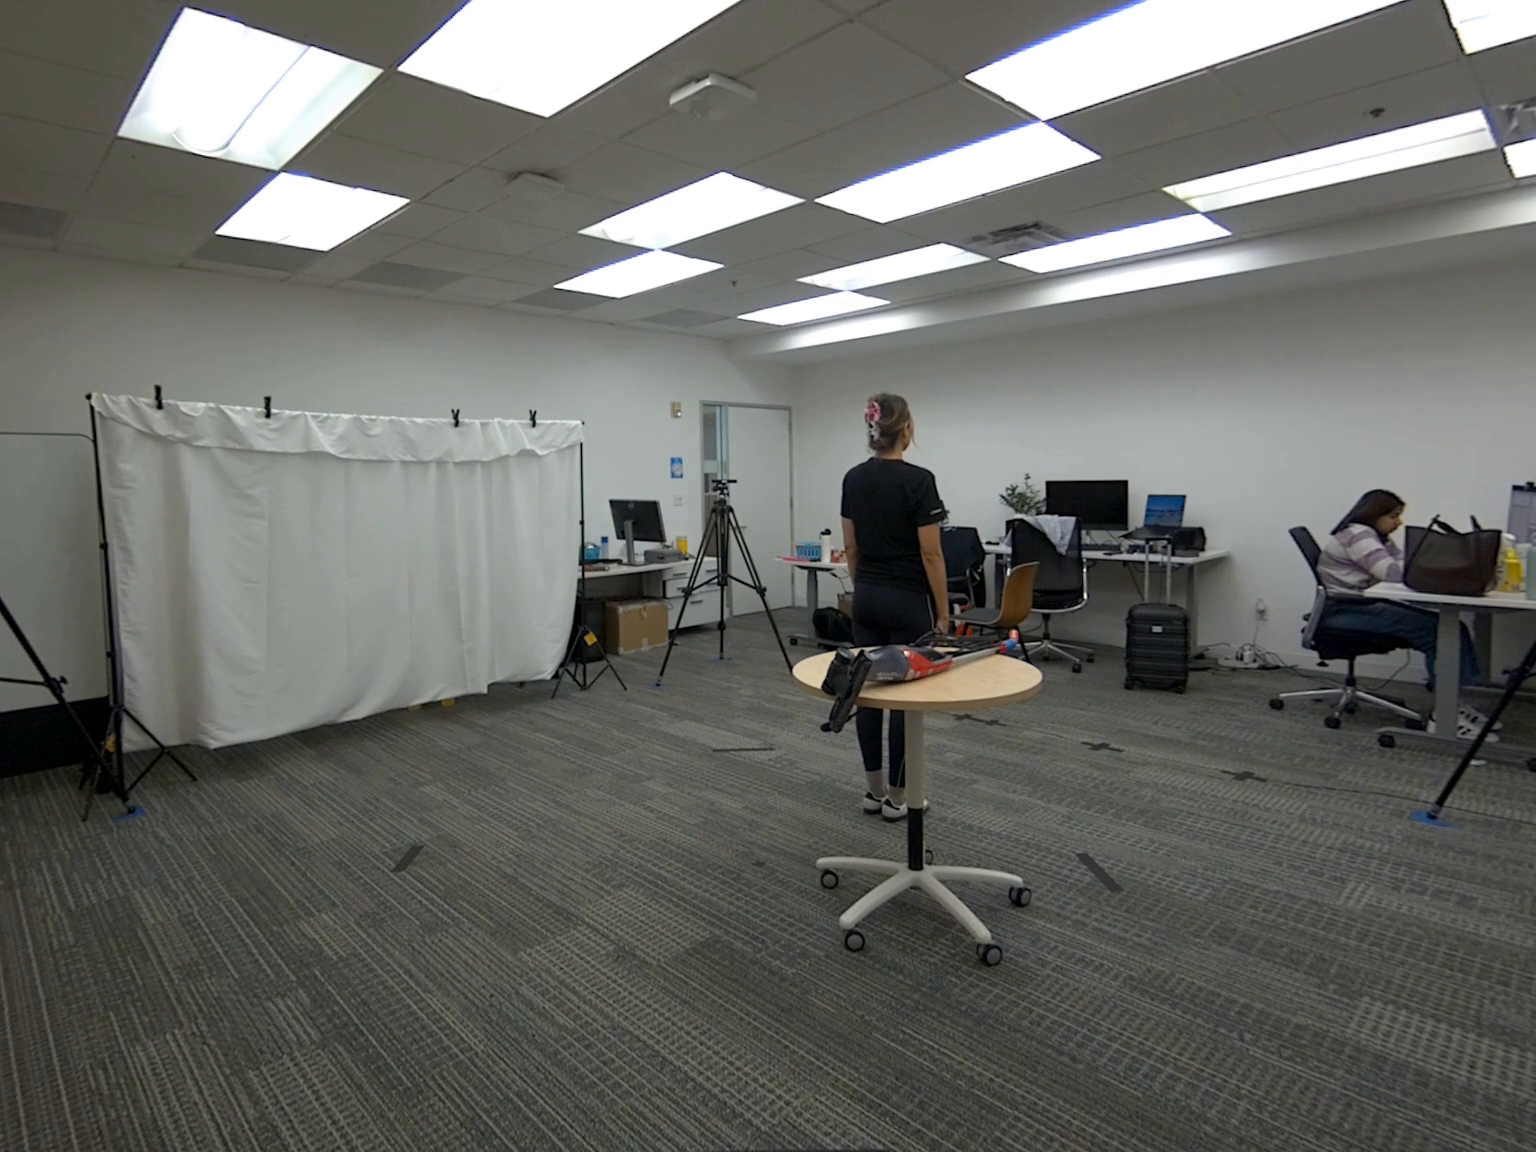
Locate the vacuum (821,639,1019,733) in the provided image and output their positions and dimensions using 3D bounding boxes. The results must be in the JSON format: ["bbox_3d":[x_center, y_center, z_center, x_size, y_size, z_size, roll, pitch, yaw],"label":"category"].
[{"bbox_3d":[0.530,0.258,2.729,0.149,0.250,1.022,36,27,33],"label":"vacuum"}]
